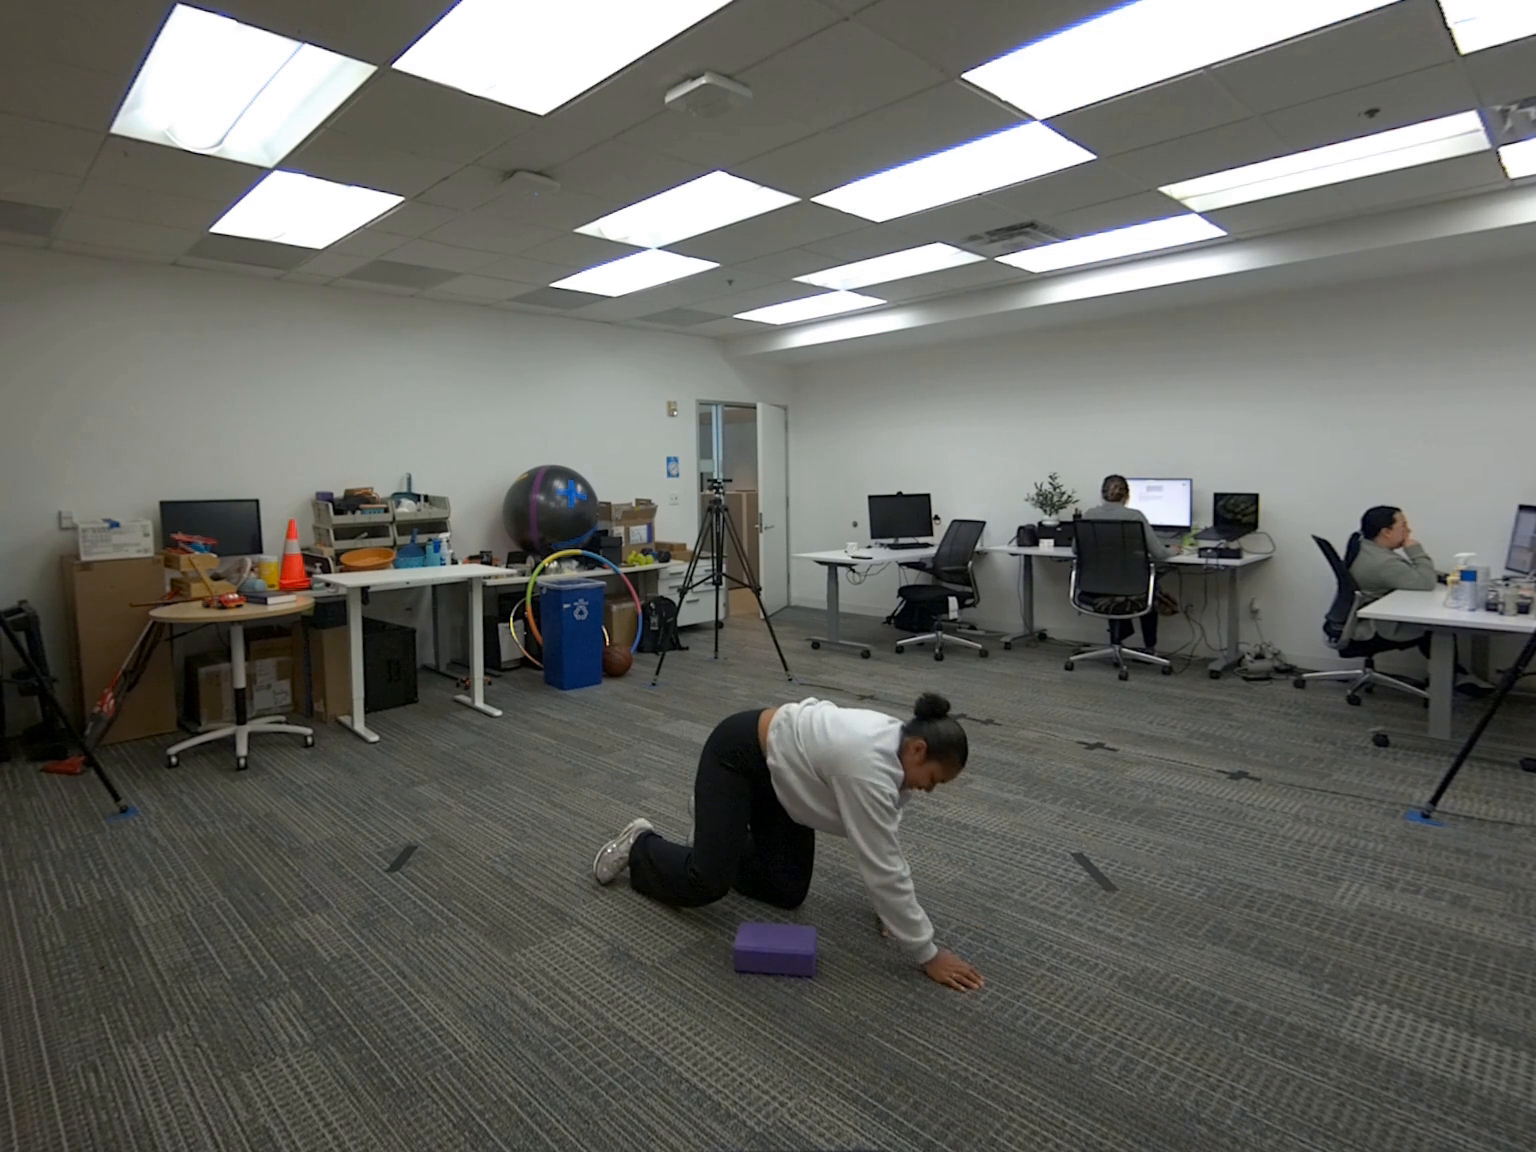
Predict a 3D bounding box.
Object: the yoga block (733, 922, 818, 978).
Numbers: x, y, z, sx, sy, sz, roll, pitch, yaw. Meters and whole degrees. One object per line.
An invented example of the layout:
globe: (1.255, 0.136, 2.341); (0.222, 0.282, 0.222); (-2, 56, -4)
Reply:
yoga block: (0.029, 1.081, 2.471); (0.231, 0.076, 0.148); (0, 5, 9)
